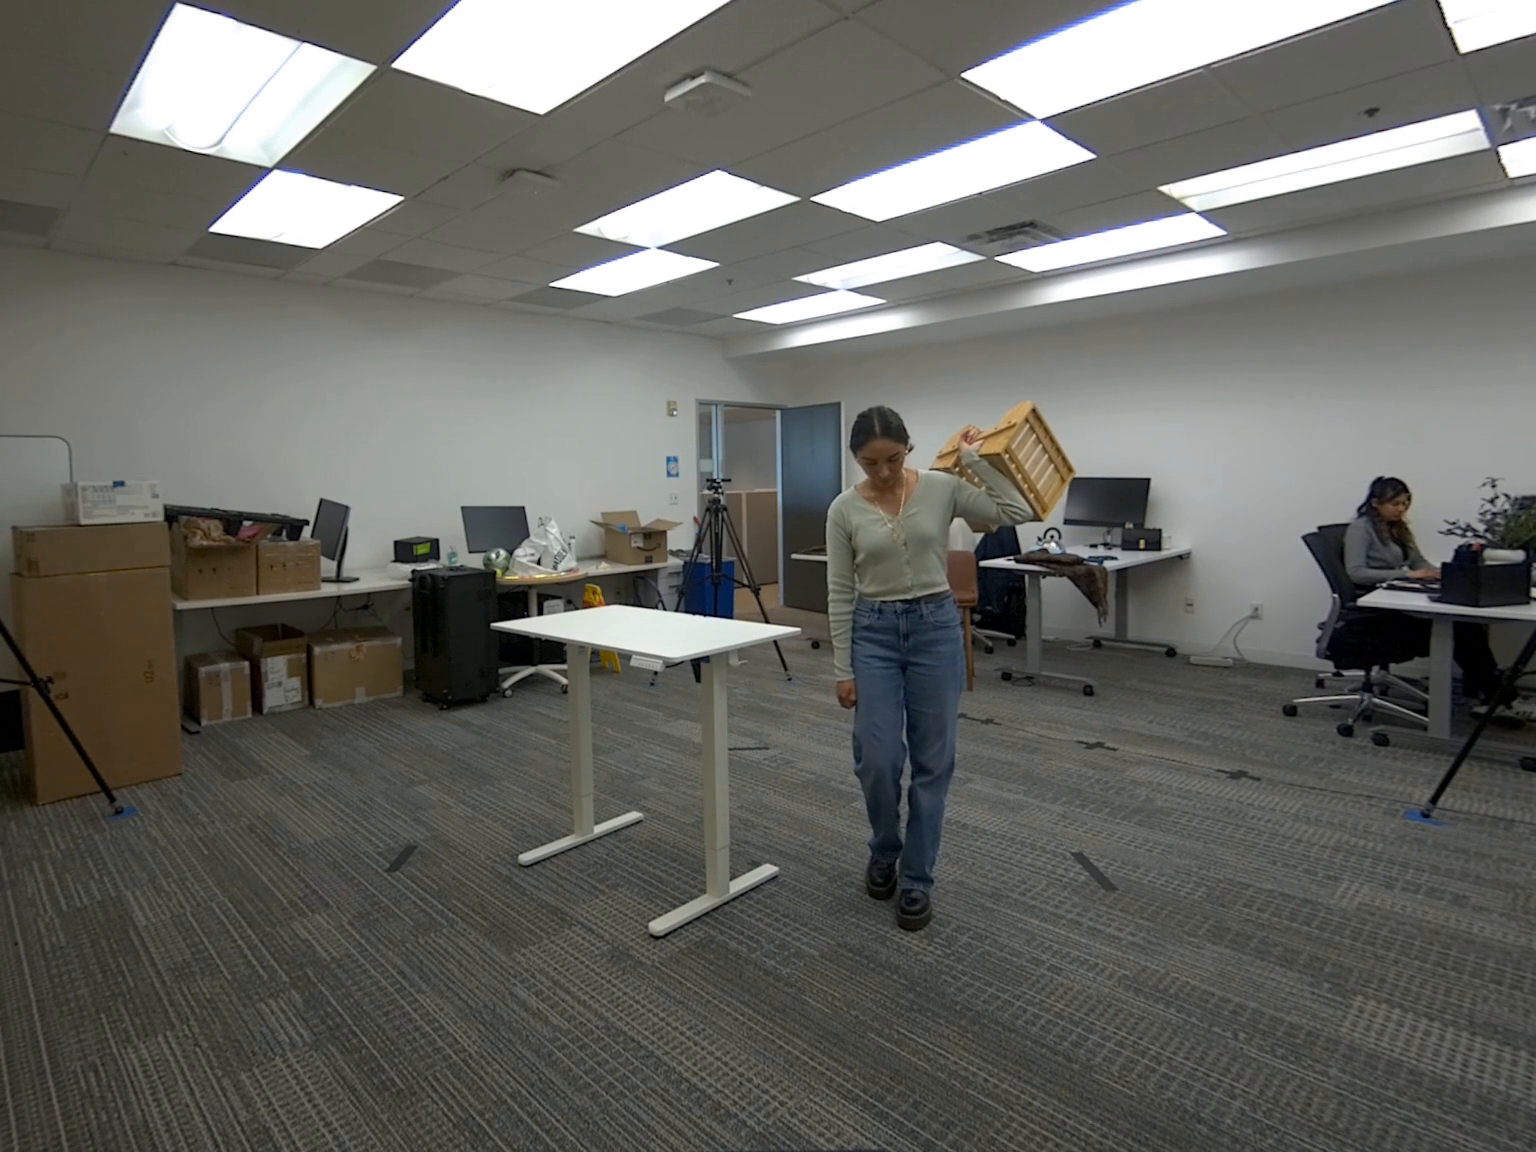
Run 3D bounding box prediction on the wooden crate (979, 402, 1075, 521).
[{"bbox_3d":[0.767,-0.356,2.804,0.303,0.315,0.281,-52,27,-23],"label":"wooden crate"}]
